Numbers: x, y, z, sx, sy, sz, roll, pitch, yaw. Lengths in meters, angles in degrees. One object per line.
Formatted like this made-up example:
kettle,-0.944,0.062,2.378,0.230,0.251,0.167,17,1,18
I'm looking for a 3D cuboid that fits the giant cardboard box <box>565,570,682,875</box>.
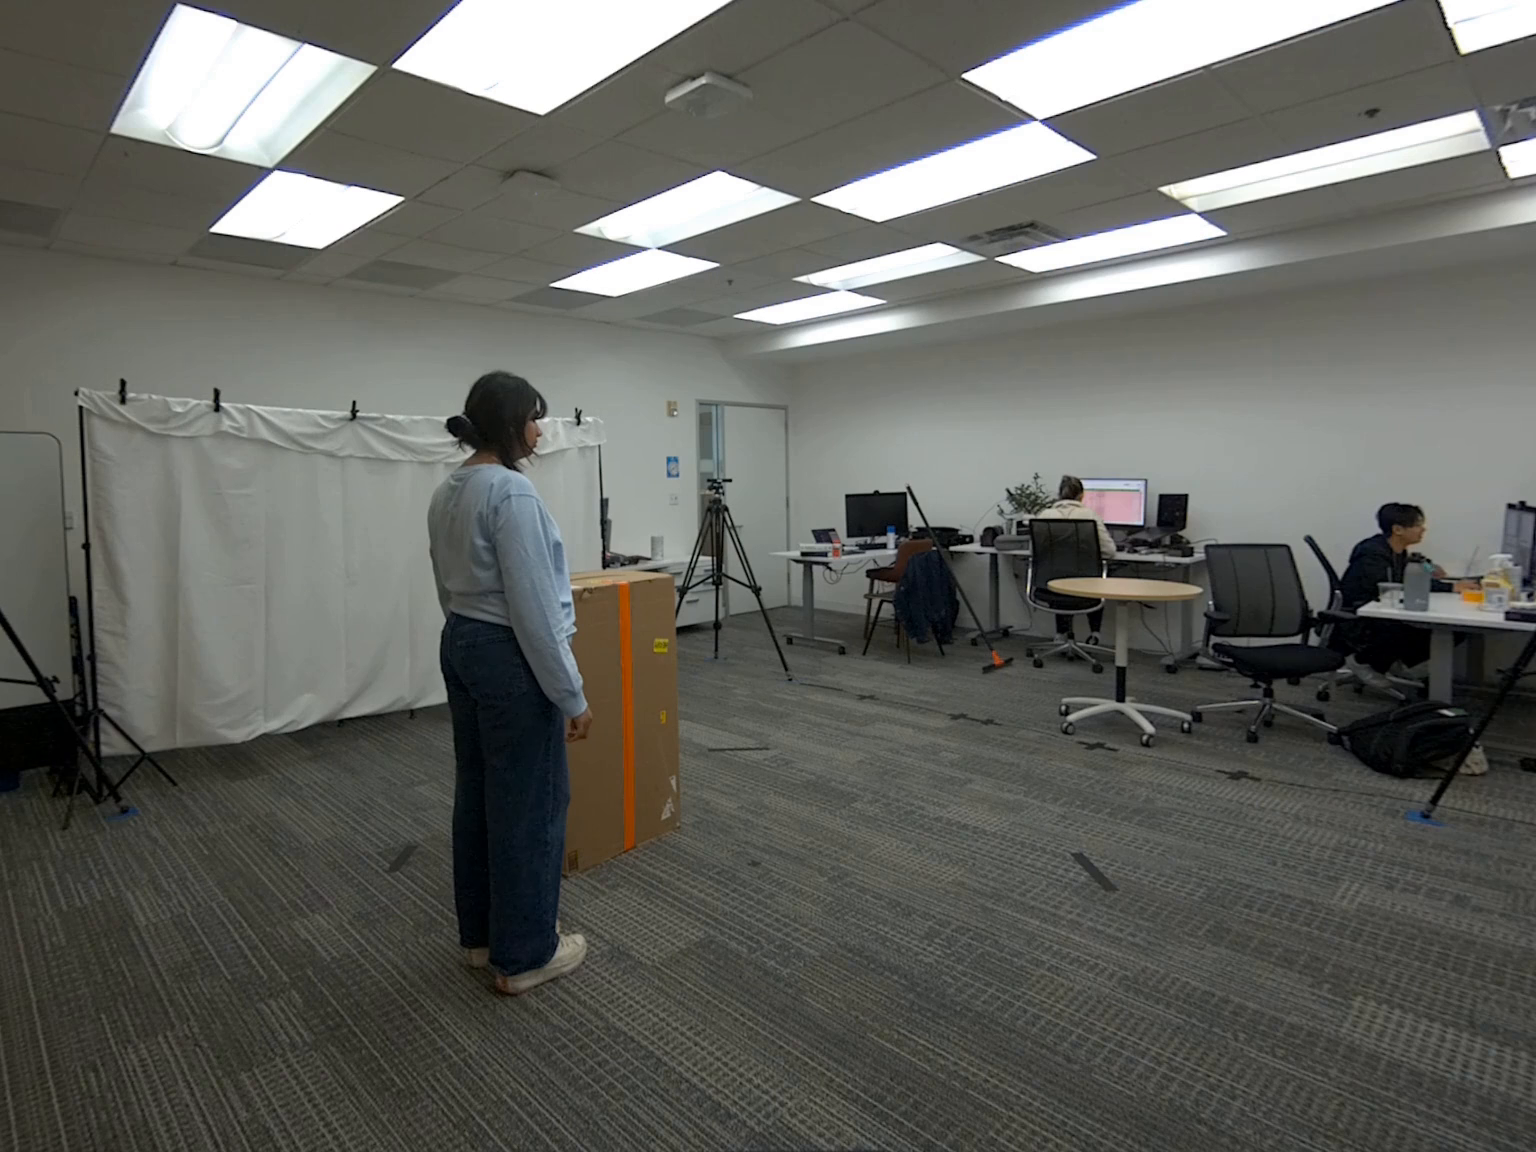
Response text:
giant cardboard box,-0.697,0.520,3.345,0.460,1.023,0.568,3,5,41
